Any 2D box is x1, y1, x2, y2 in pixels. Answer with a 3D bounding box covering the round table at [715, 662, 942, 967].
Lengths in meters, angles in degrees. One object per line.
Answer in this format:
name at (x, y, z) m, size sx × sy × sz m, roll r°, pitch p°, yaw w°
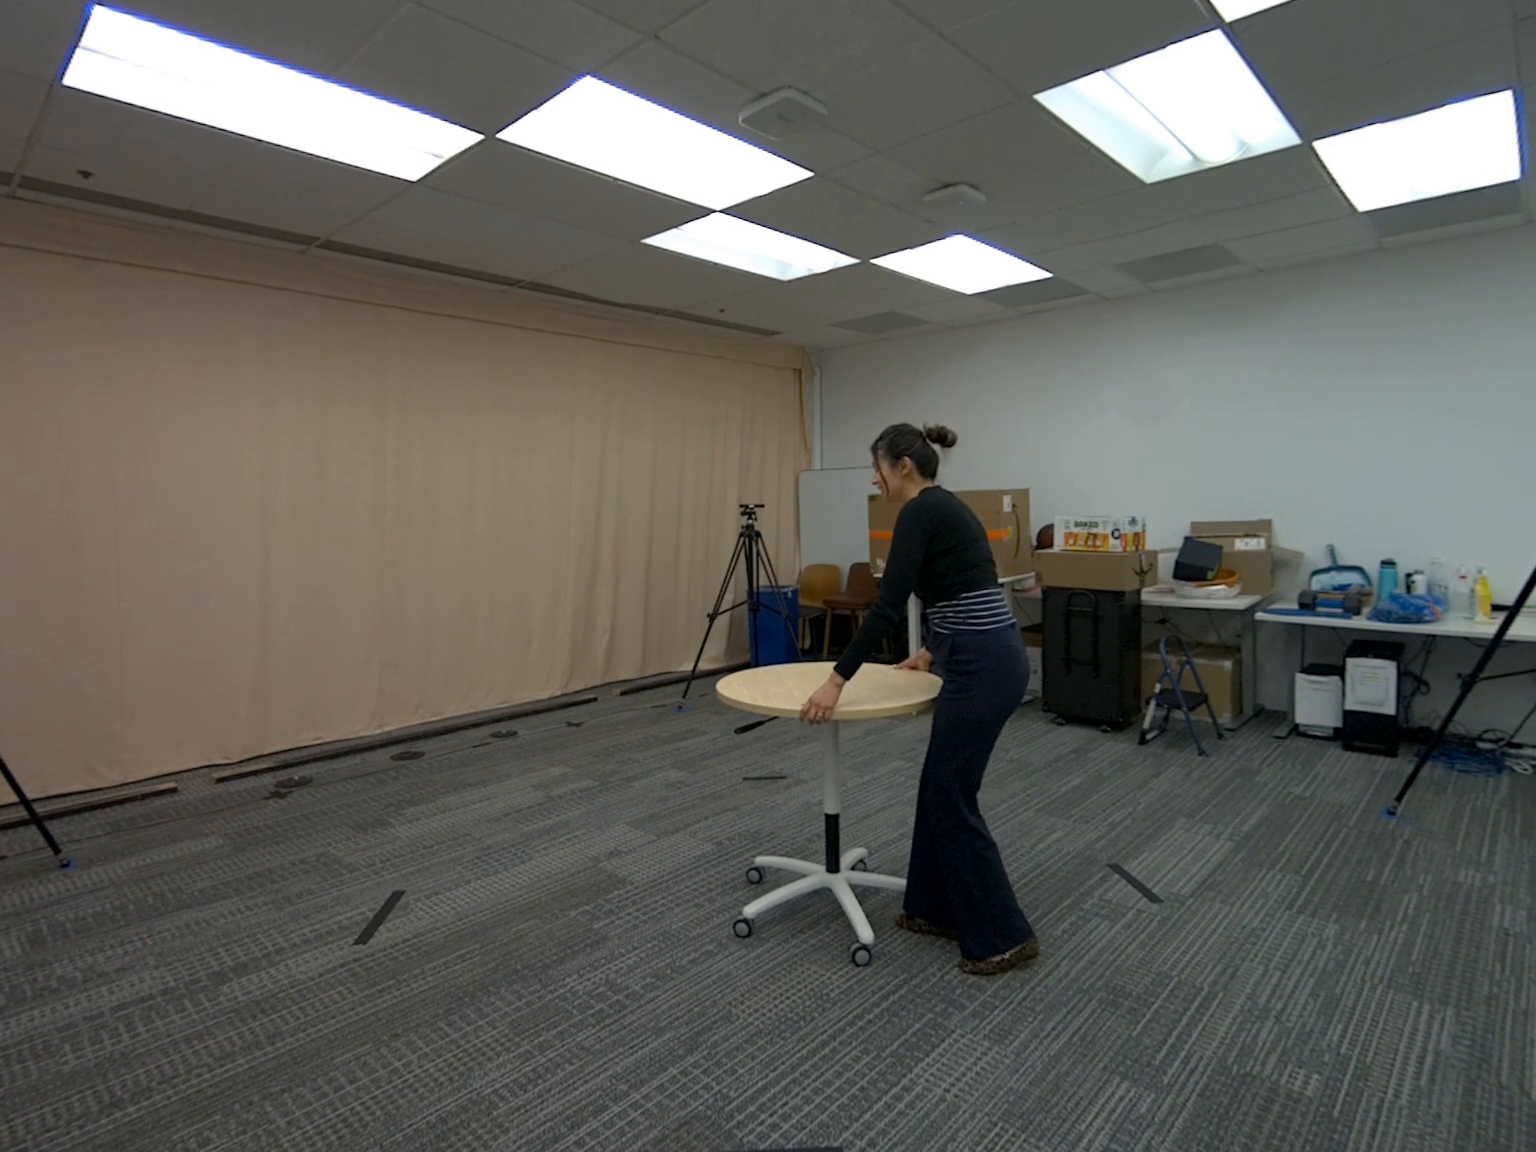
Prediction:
round table at (0.217, 0.757, 2.857) m, size 0.763 × 0.792 × 0.766 m, roll -1°, pitch 4°, yaw -2°
